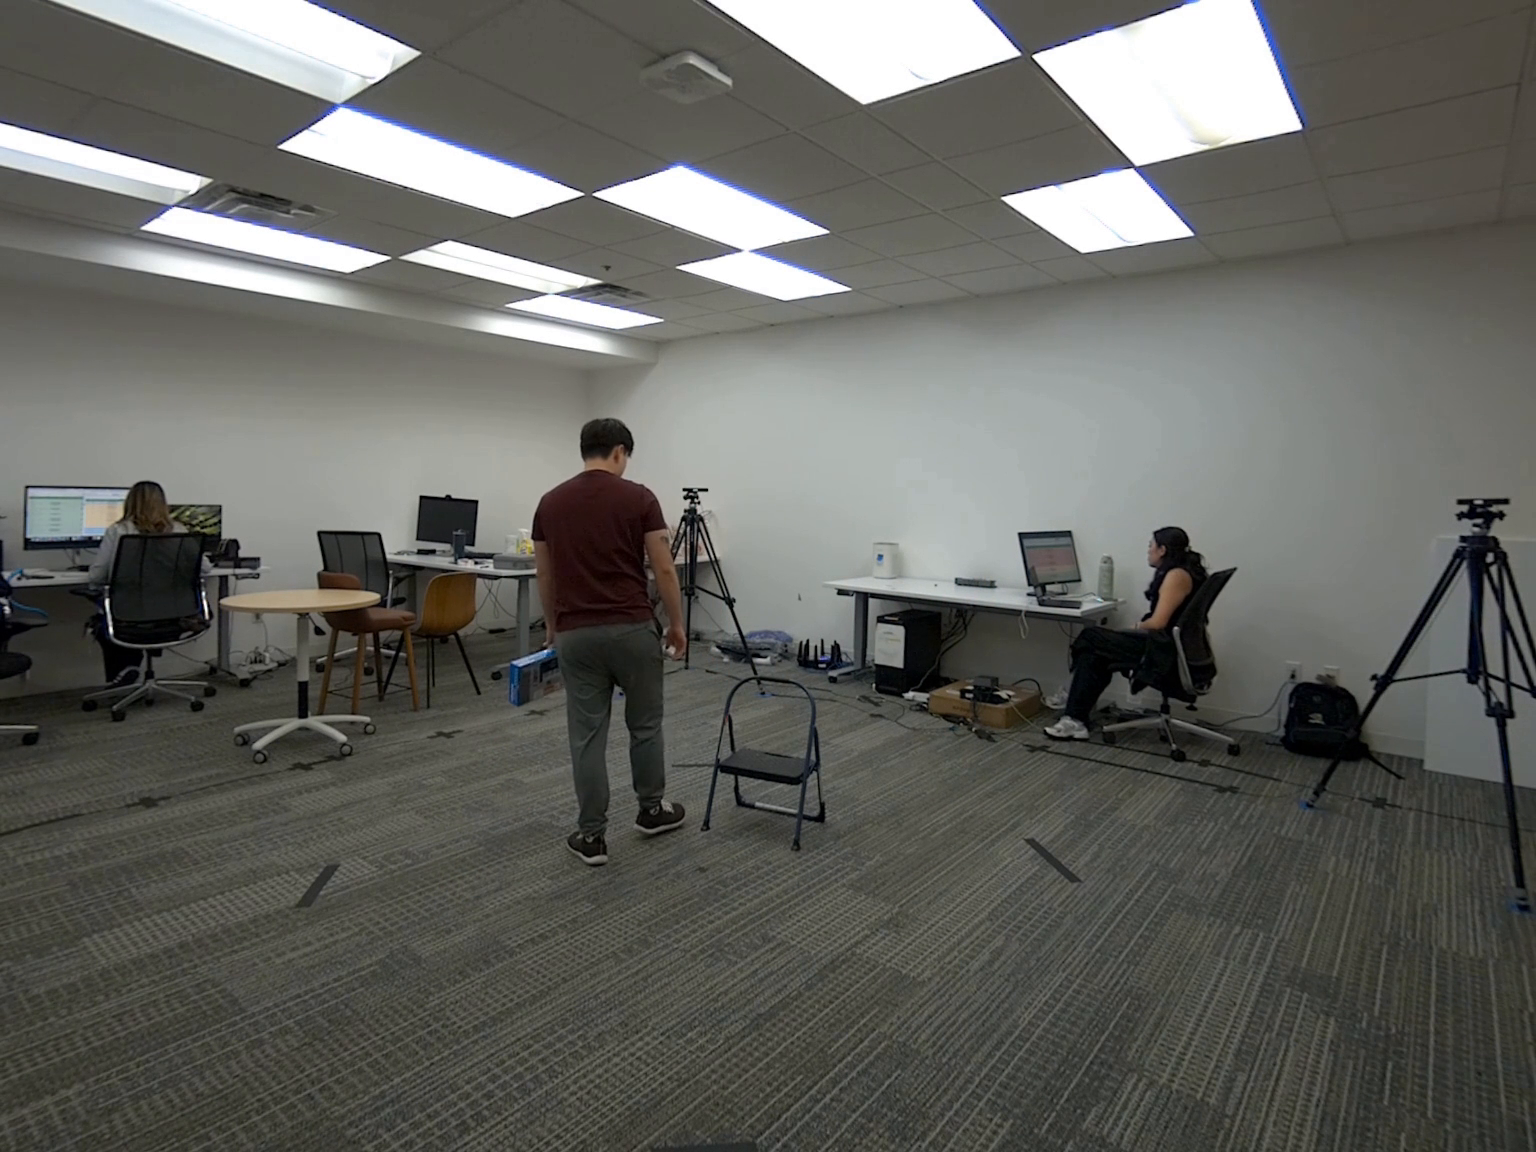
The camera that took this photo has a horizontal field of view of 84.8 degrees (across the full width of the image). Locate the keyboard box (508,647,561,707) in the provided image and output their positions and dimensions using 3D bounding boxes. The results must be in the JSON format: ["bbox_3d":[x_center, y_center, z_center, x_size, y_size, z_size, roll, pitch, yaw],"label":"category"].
[{"bbox_3d":[-0.874,0.380,3.470,0.061,0.173,0.427,16,20,32],"label":"keyboard box"}]
